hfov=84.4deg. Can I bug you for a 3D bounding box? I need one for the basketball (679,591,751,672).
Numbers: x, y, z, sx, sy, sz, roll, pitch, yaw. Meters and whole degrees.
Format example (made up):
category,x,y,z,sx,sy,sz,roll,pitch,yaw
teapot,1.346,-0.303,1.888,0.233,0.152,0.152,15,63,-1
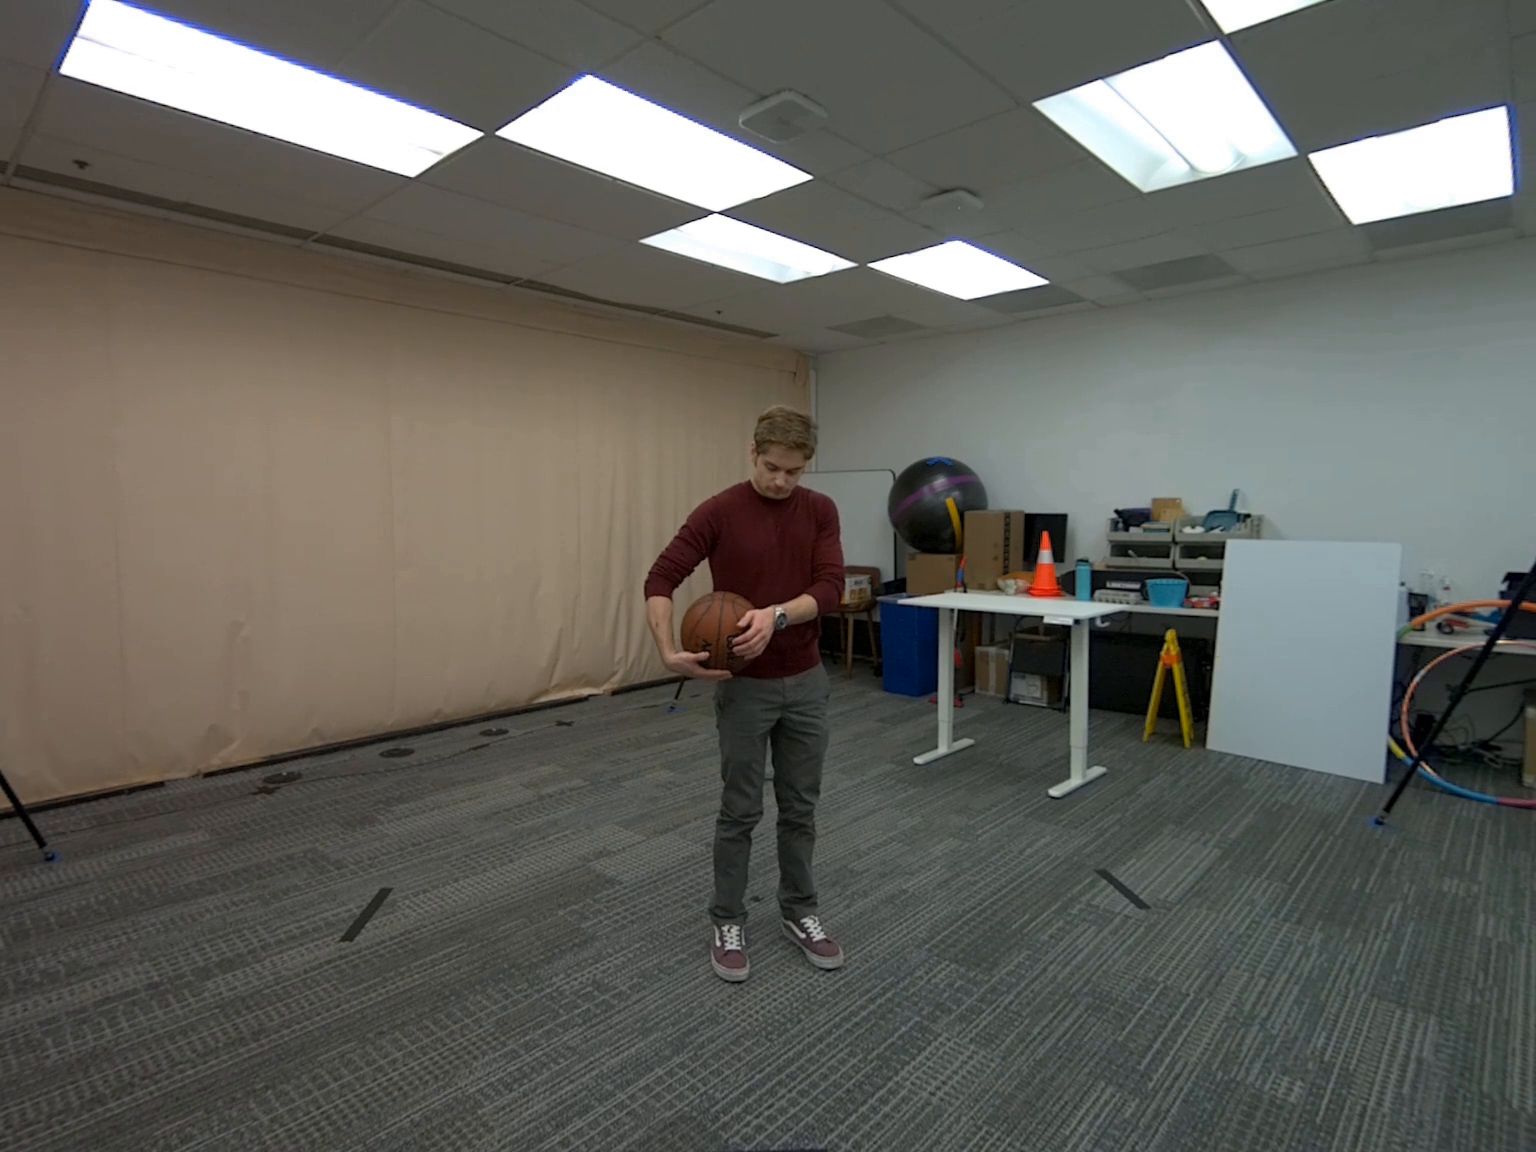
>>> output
category,x,y,z,sx,sy,sz,roll,pitch,yaw
basketball,-0.125,0.167,2.423,0.236,0.235,0.237,0,4,-2
